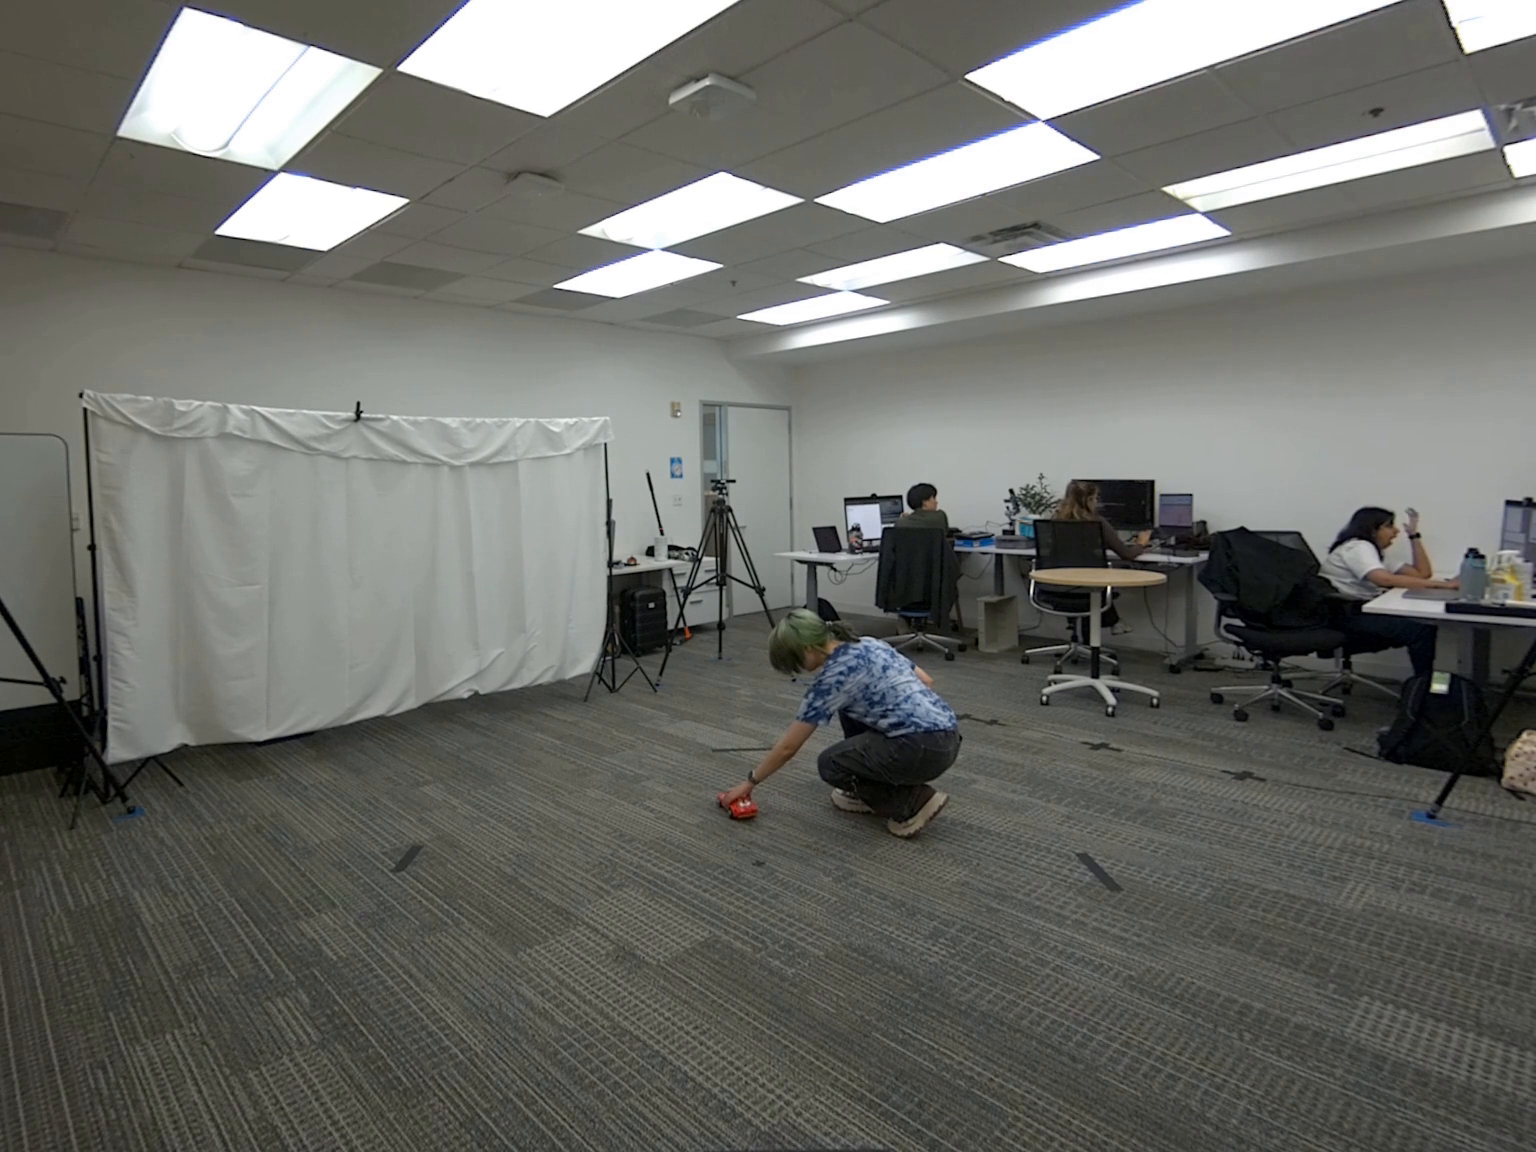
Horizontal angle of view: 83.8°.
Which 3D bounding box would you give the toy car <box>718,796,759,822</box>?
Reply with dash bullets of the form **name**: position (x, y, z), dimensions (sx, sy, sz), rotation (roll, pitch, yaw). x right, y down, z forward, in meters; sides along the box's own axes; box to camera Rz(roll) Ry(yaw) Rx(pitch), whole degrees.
- **toy car**: position (-0.119, 0.964, 3.587), dimensions (0.128, 0.083, 0.258), rotation (-2, -4, -22)
